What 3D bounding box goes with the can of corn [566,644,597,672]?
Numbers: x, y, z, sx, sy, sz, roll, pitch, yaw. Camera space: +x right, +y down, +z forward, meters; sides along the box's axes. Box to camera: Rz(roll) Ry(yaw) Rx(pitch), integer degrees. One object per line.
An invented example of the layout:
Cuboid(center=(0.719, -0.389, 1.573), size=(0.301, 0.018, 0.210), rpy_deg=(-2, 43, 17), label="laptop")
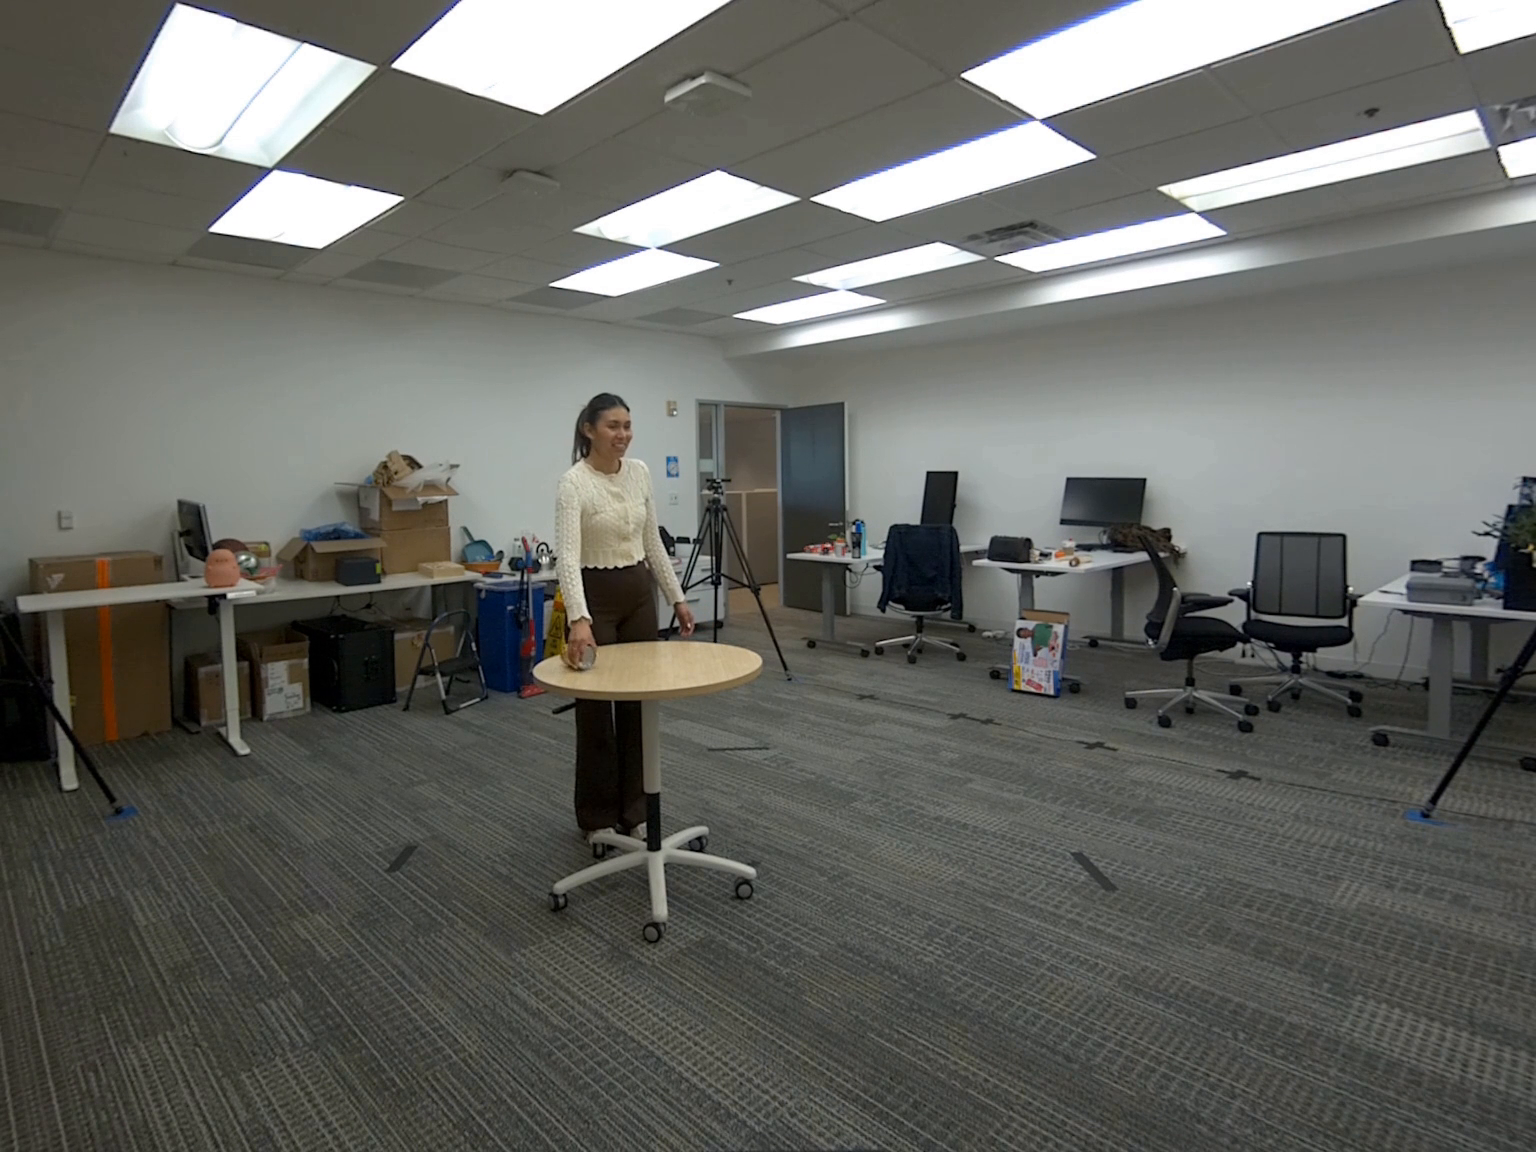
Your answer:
Cuboid(center=(-0.620, 0.265, 2.830), size=(0.072, 0.074, 0.114), rpy_deg=(-4, 3, -33), label="can of corn")
